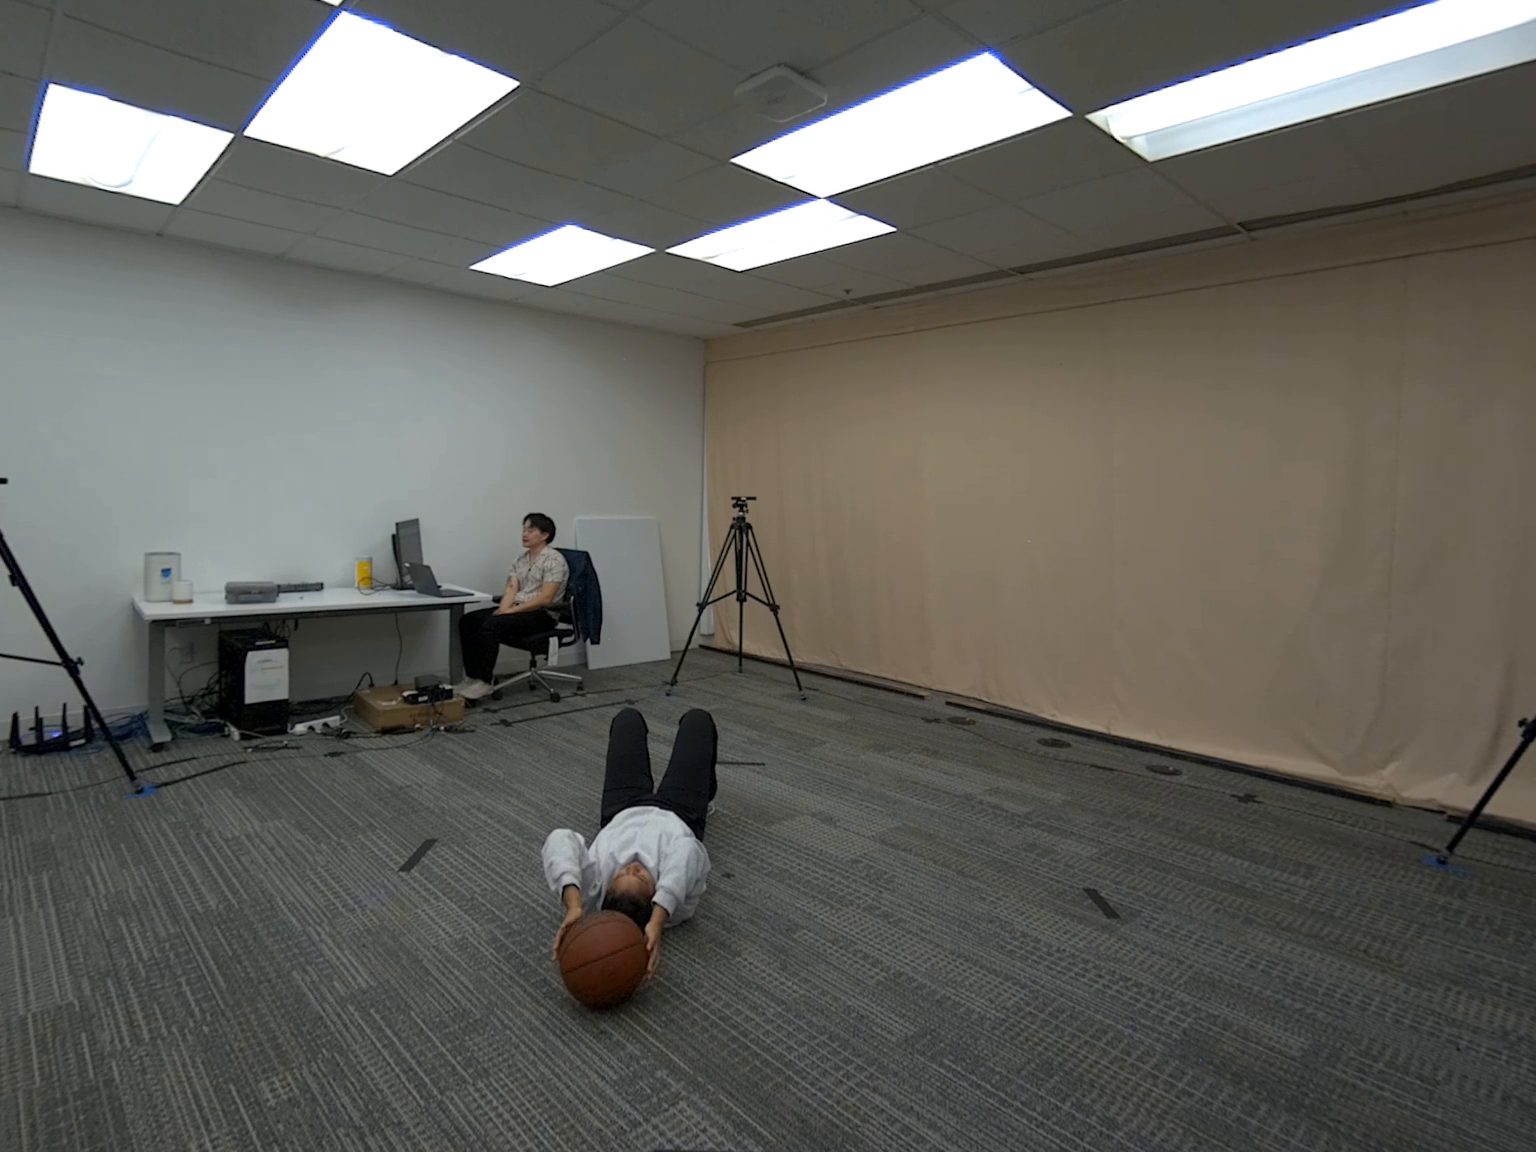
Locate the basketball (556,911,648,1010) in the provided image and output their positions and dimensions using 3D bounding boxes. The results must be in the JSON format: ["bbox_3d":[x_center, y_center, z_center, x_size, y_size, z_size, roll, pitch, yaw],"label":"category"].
[{"bbox_3d":[-0.461,1.048,2.313,0.236,0.235,0.237,1,4,-1],"label":"basketball"}]
